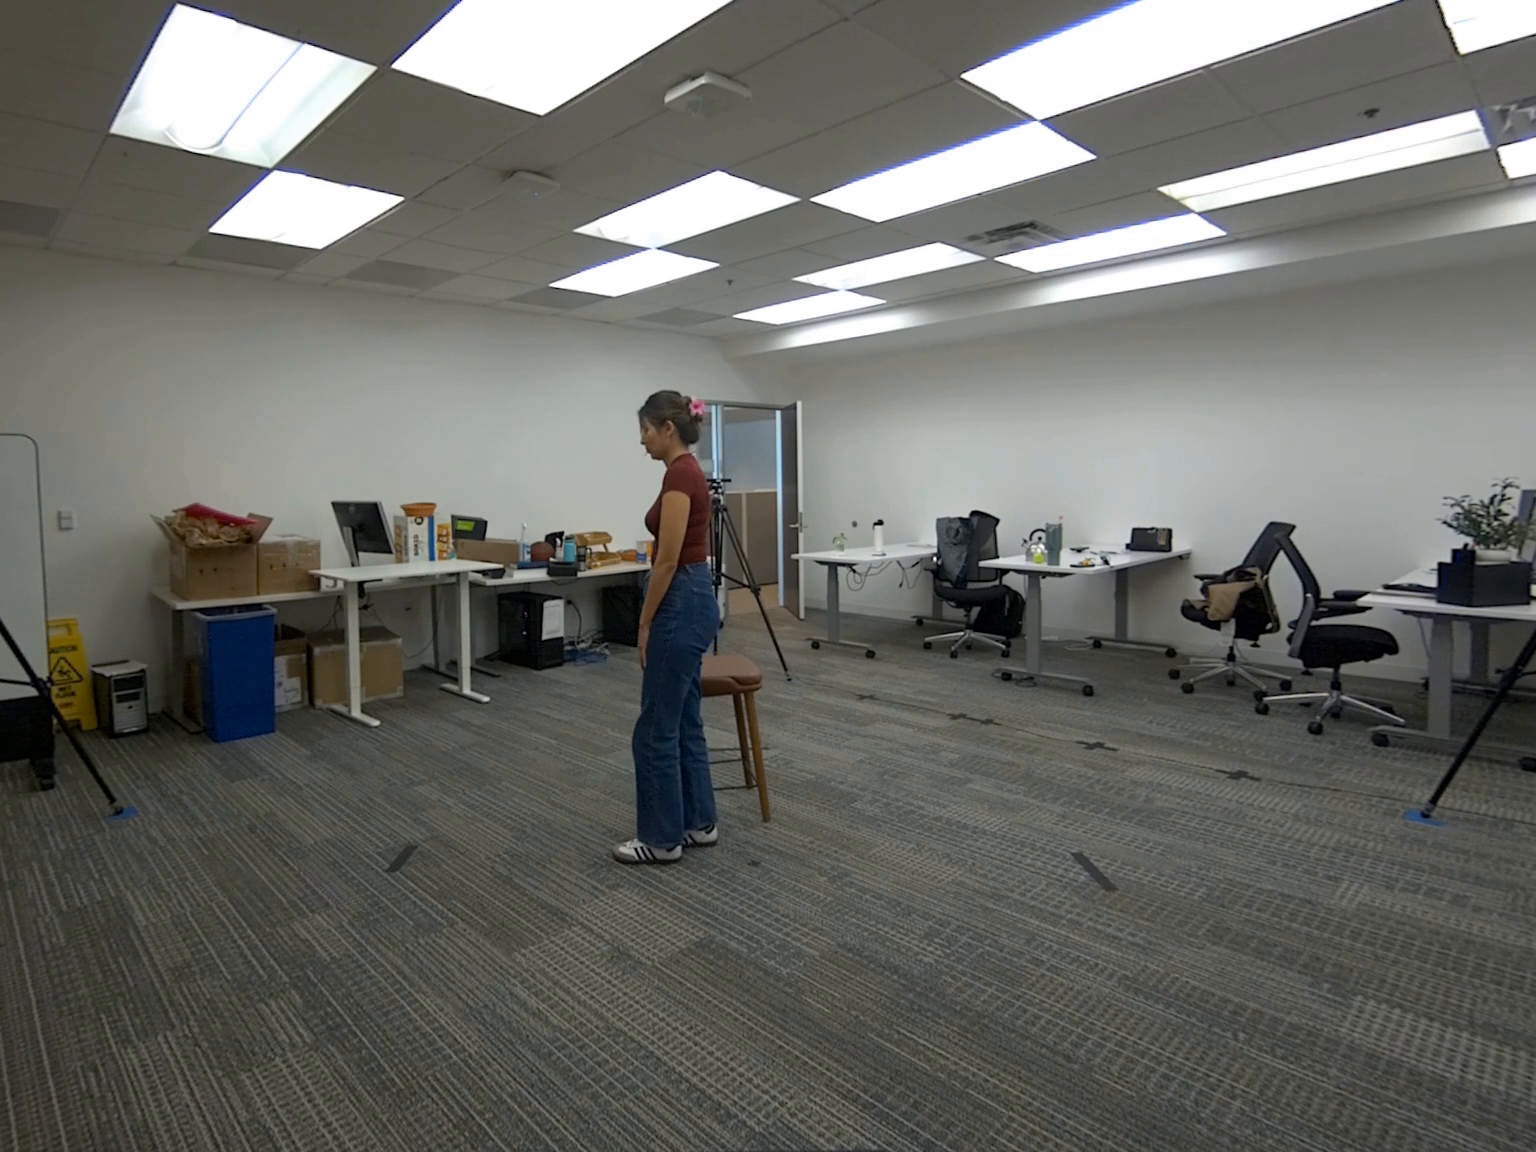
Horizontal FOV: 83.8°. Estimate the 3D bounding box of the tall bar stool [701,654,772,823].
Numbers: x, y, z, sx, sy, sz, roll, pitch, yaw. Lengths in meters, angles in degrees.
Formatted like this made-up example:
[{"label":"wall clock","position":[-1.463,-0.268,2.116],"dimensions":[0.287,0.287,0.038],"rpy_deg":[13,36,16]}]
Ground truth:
[{"label":"tall bar stool","position":[-0.266,0.558,3.623],"dimensions":[0.463,0.887,0.462],"rpy_deg":[-4,4,-10]}]
